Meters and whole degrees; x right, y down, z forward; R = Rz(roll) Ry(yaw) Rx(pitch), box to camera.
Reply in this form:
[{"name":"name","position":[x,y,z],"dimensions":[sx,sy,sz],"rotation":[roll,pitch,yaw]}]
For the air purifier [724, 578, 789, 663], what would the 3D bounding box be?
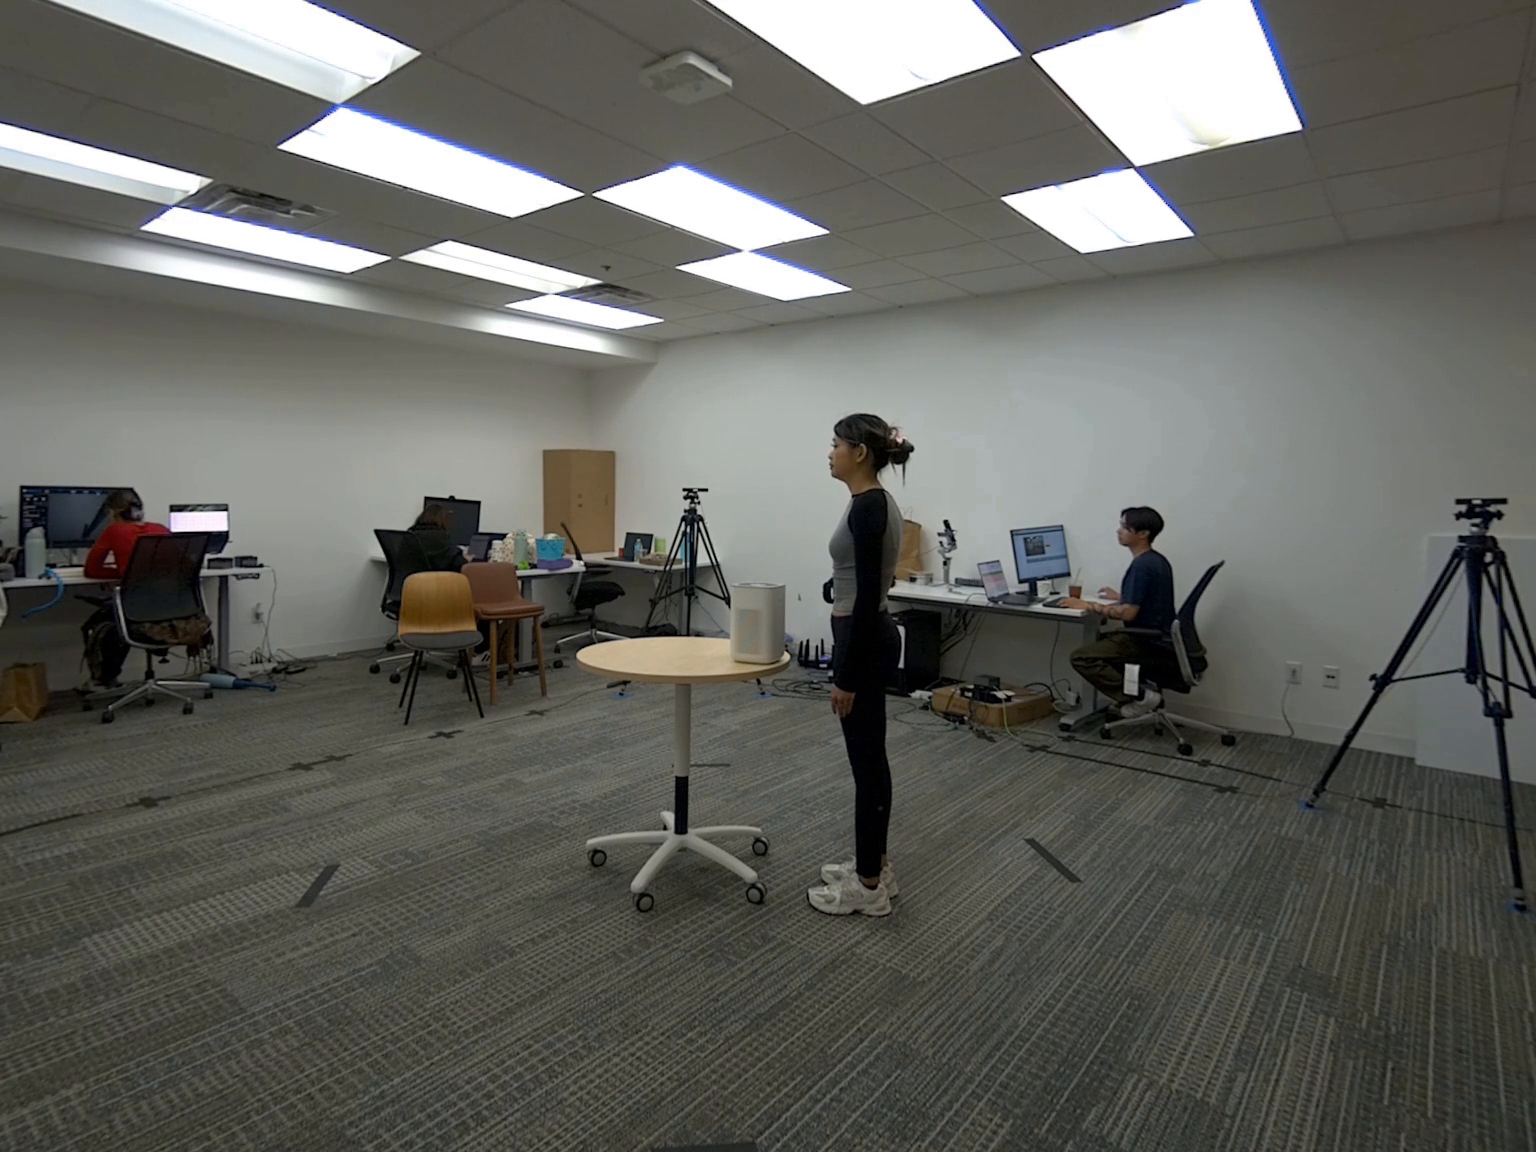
[{"name":"air purifier","position":[-0.041,0.151,2.968],"dimensions":[0.175,0.265,0.168],"rotation":[2,3,21]}]
